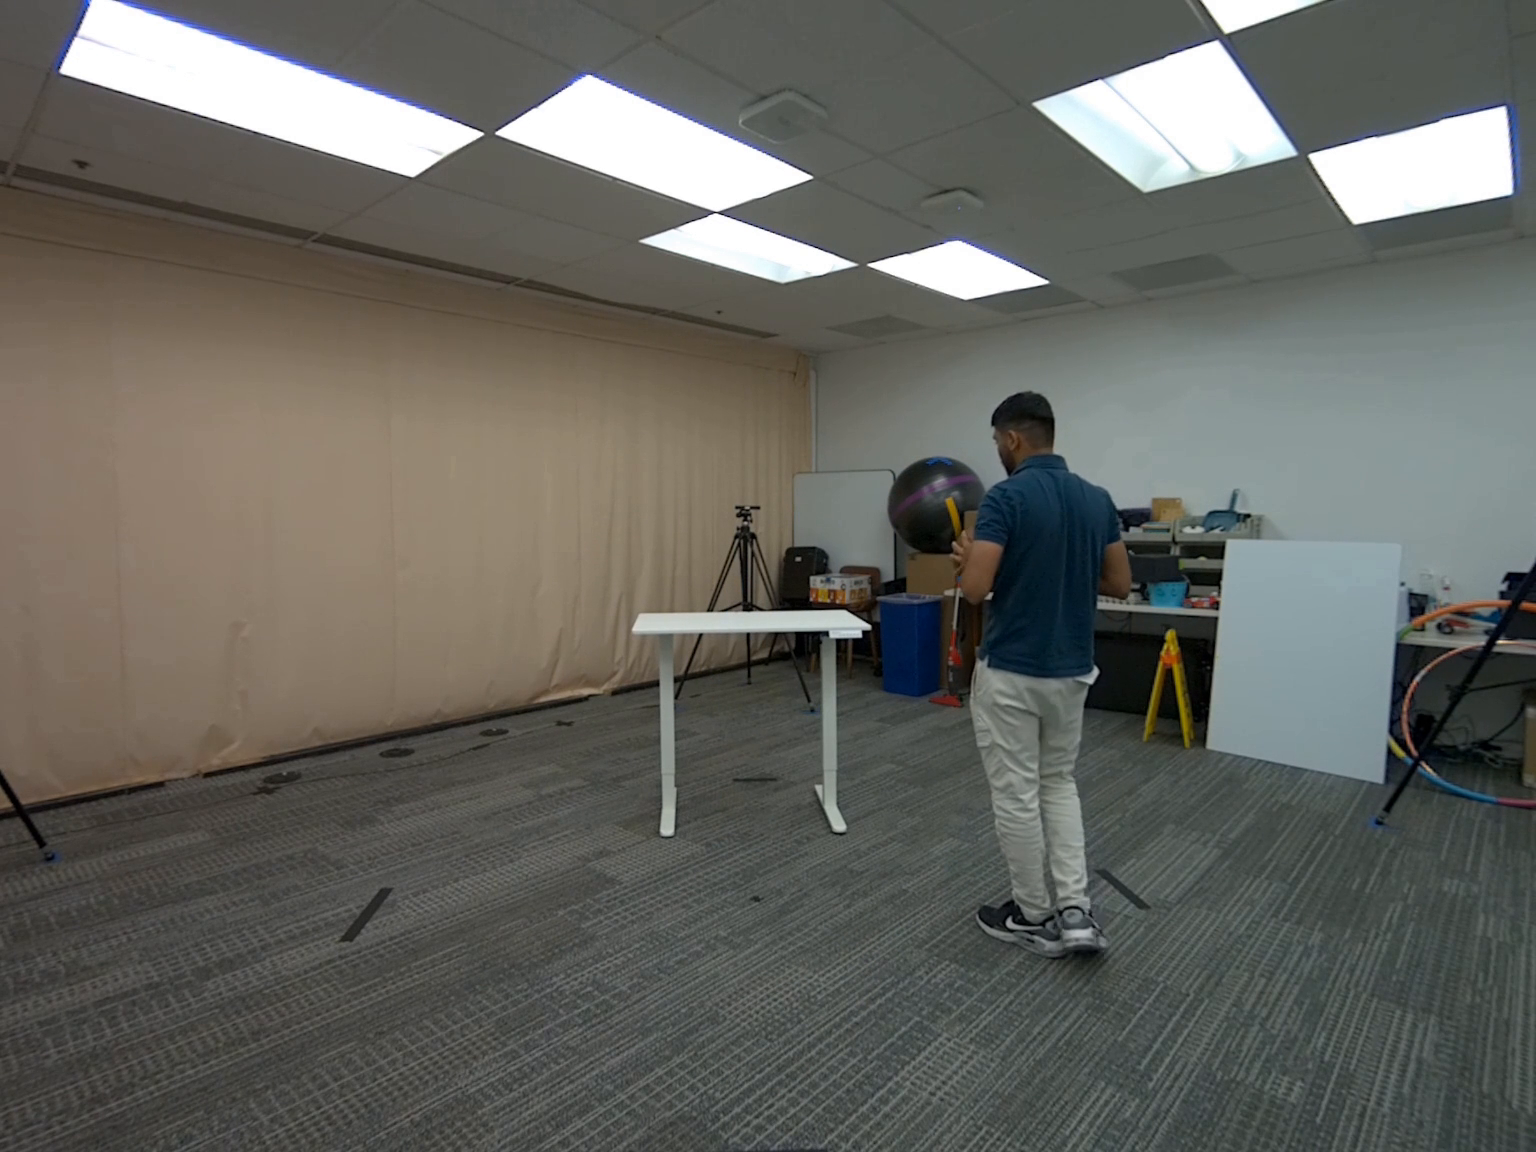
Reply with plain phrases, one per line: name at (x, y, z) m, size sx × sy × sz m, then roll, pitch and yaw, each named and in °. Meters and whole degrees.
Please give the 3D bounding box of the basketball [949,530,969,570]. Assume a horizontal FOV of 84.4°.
basketball at (0.756, -0.060, 2.847) m, size 0.236 × 0.235 × 0.237 m, roll 0°, pitch 4°, yaw -2°
